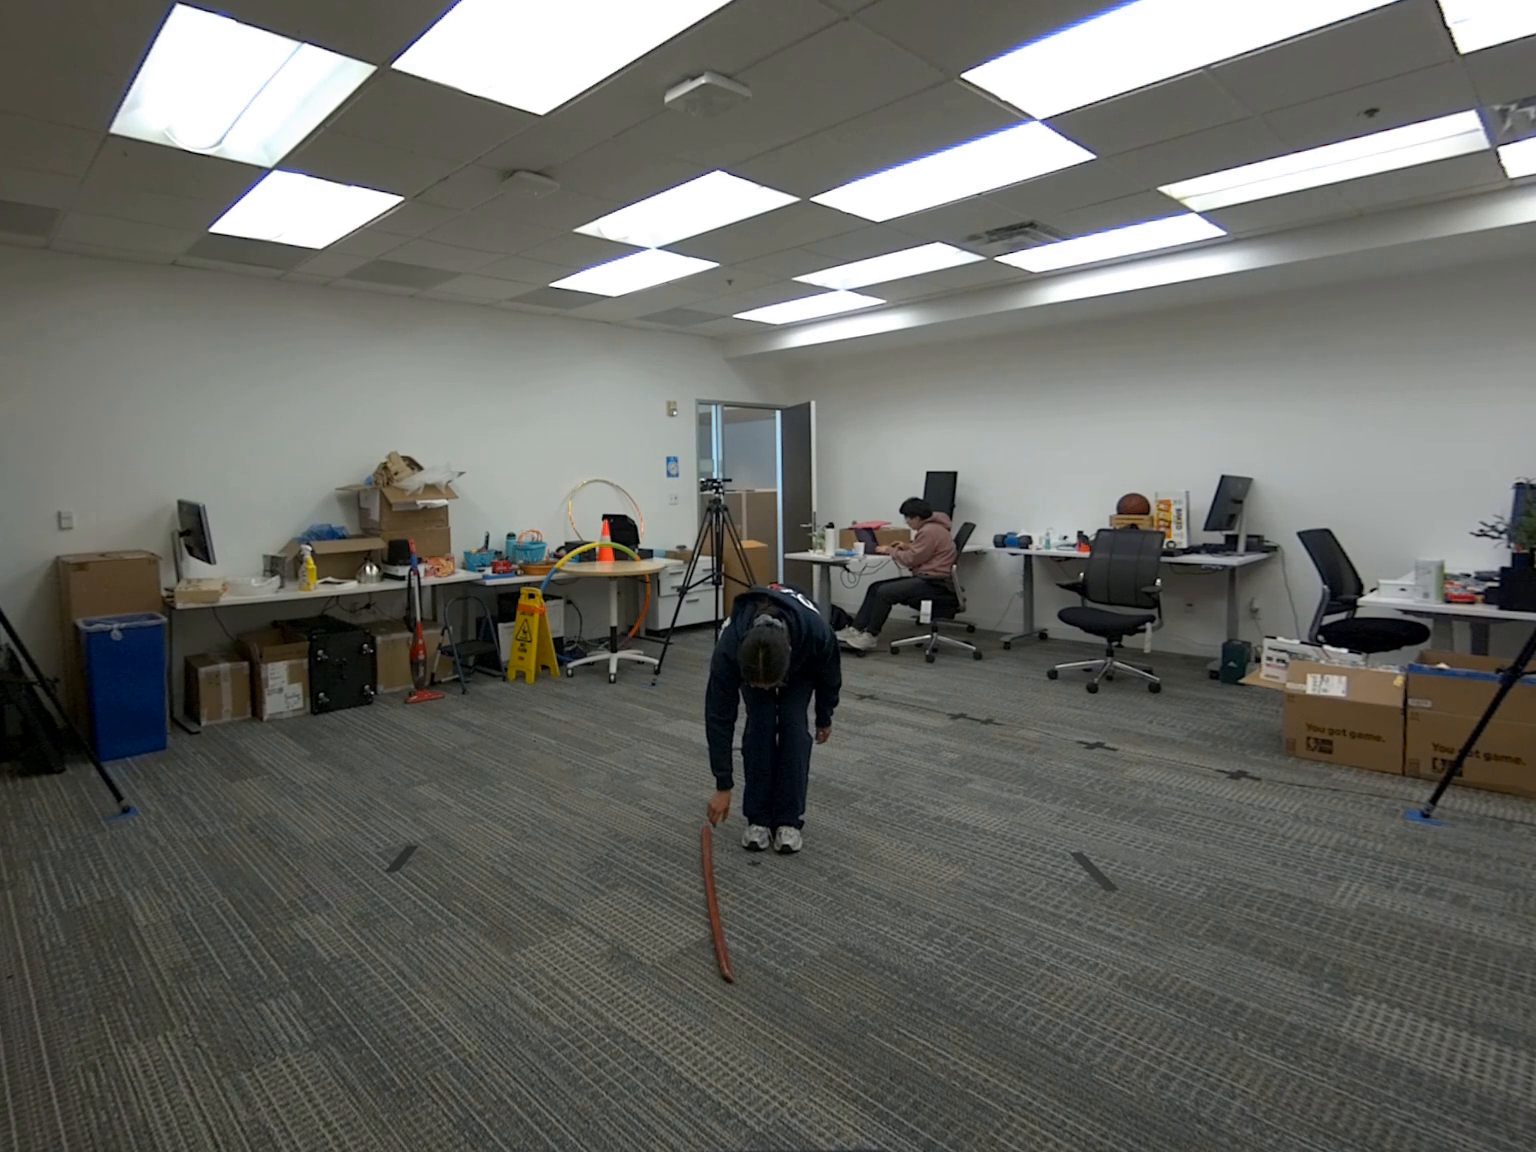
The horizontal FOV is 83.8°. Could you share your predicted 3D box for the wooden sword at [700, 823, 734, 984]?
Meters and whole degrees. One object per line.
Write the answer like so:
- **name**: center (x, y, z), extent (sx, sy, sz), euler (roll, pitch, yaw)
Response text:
- **wooden sword**: center (-0.193, 1.051, 2.875), extent (0.051, 0.024, 1.038), euler (-2, 8, -9)
